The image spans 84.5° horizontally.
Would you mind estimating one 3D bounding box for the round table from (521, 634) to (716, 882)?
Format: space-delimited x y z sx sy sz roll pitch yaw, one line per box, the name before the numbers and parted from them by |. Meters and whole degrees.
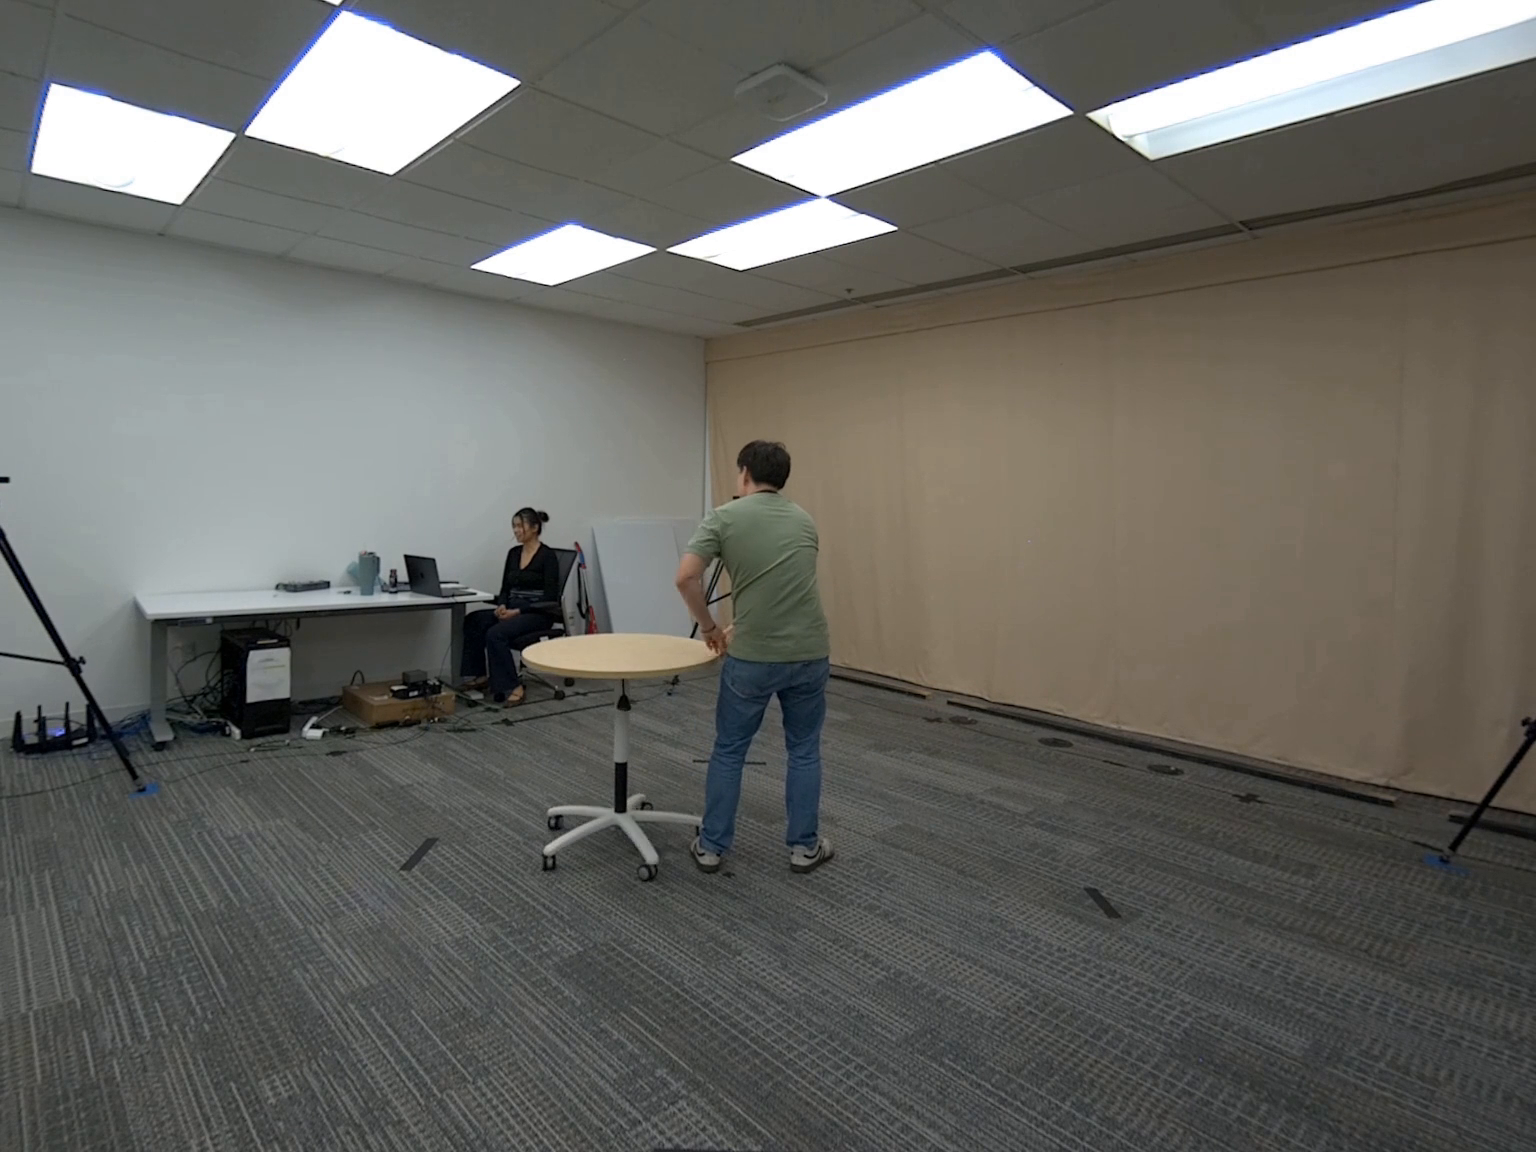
round table | -0.578 0.682 3.313 0.763 0.791 0.767 1 5 -1
